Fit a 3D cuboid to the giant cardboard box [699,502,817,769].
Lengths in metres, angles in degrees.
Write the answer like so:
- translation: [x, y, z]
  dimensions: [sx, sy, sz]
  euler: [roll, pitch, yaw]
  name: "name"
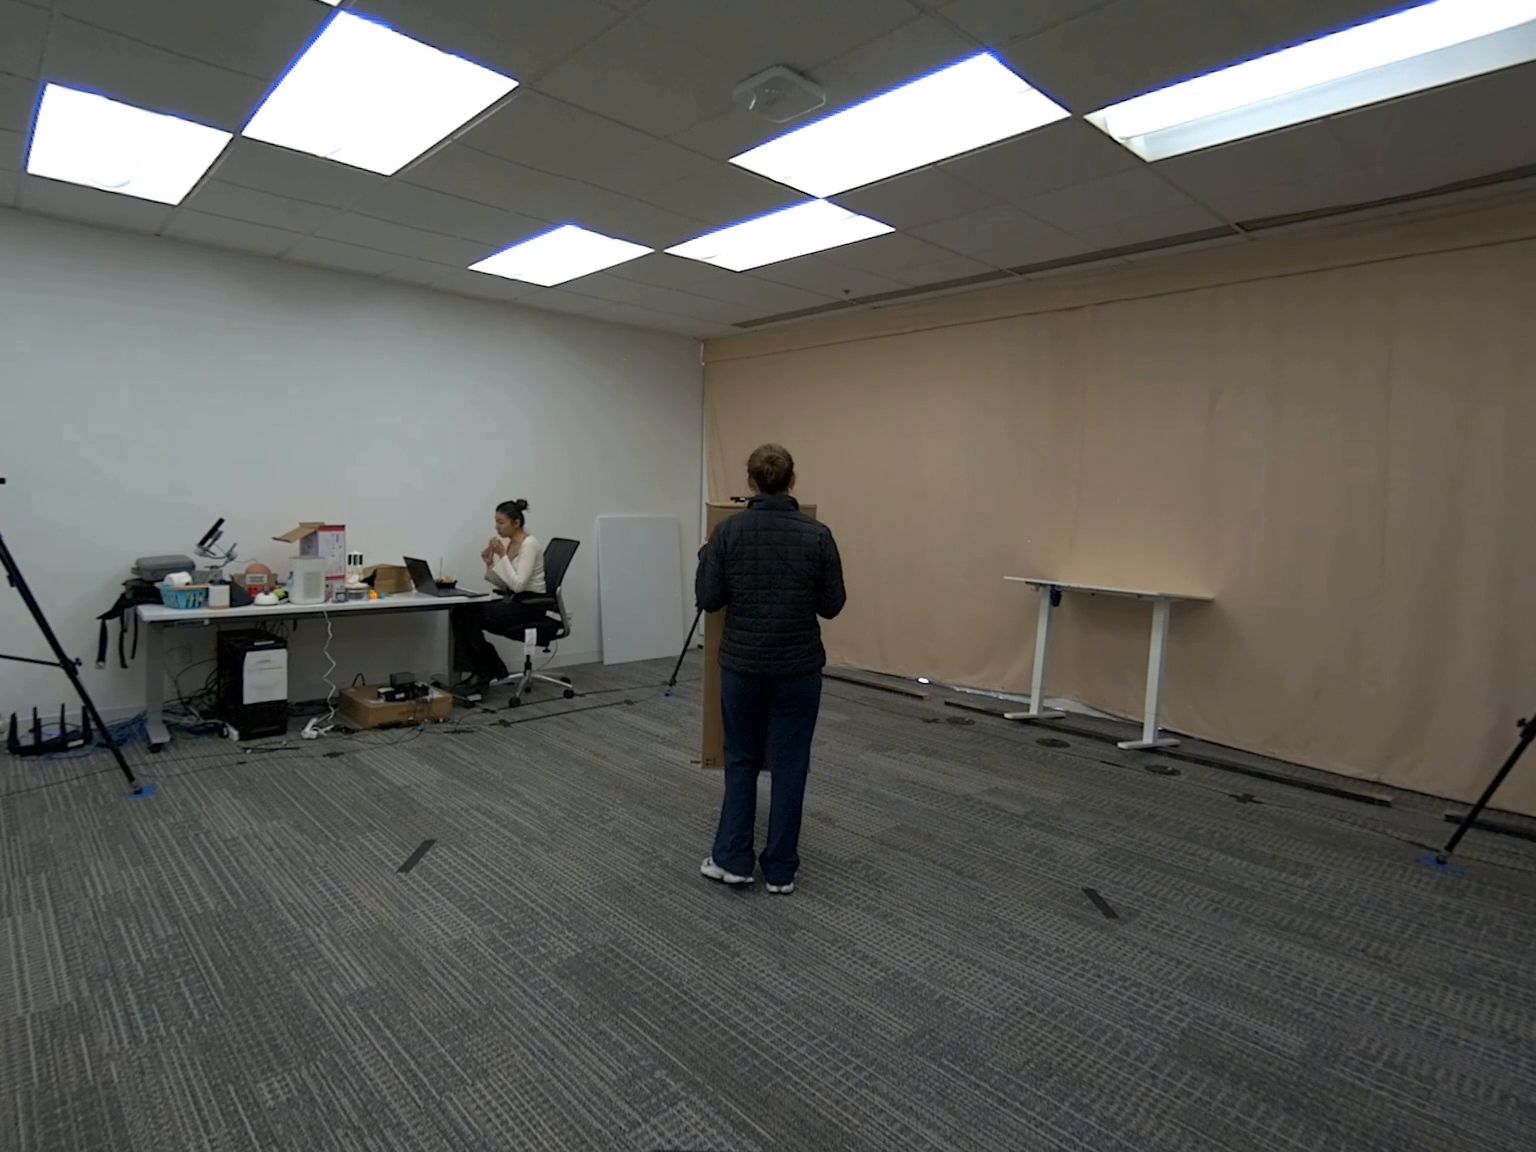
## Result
- translation: [-0.052, 0.227, 3.459]
  dimensions: [0.426, 1.024, 0.578]
  euler: [1, 2, -1]
  name: "giant cardboard box"
